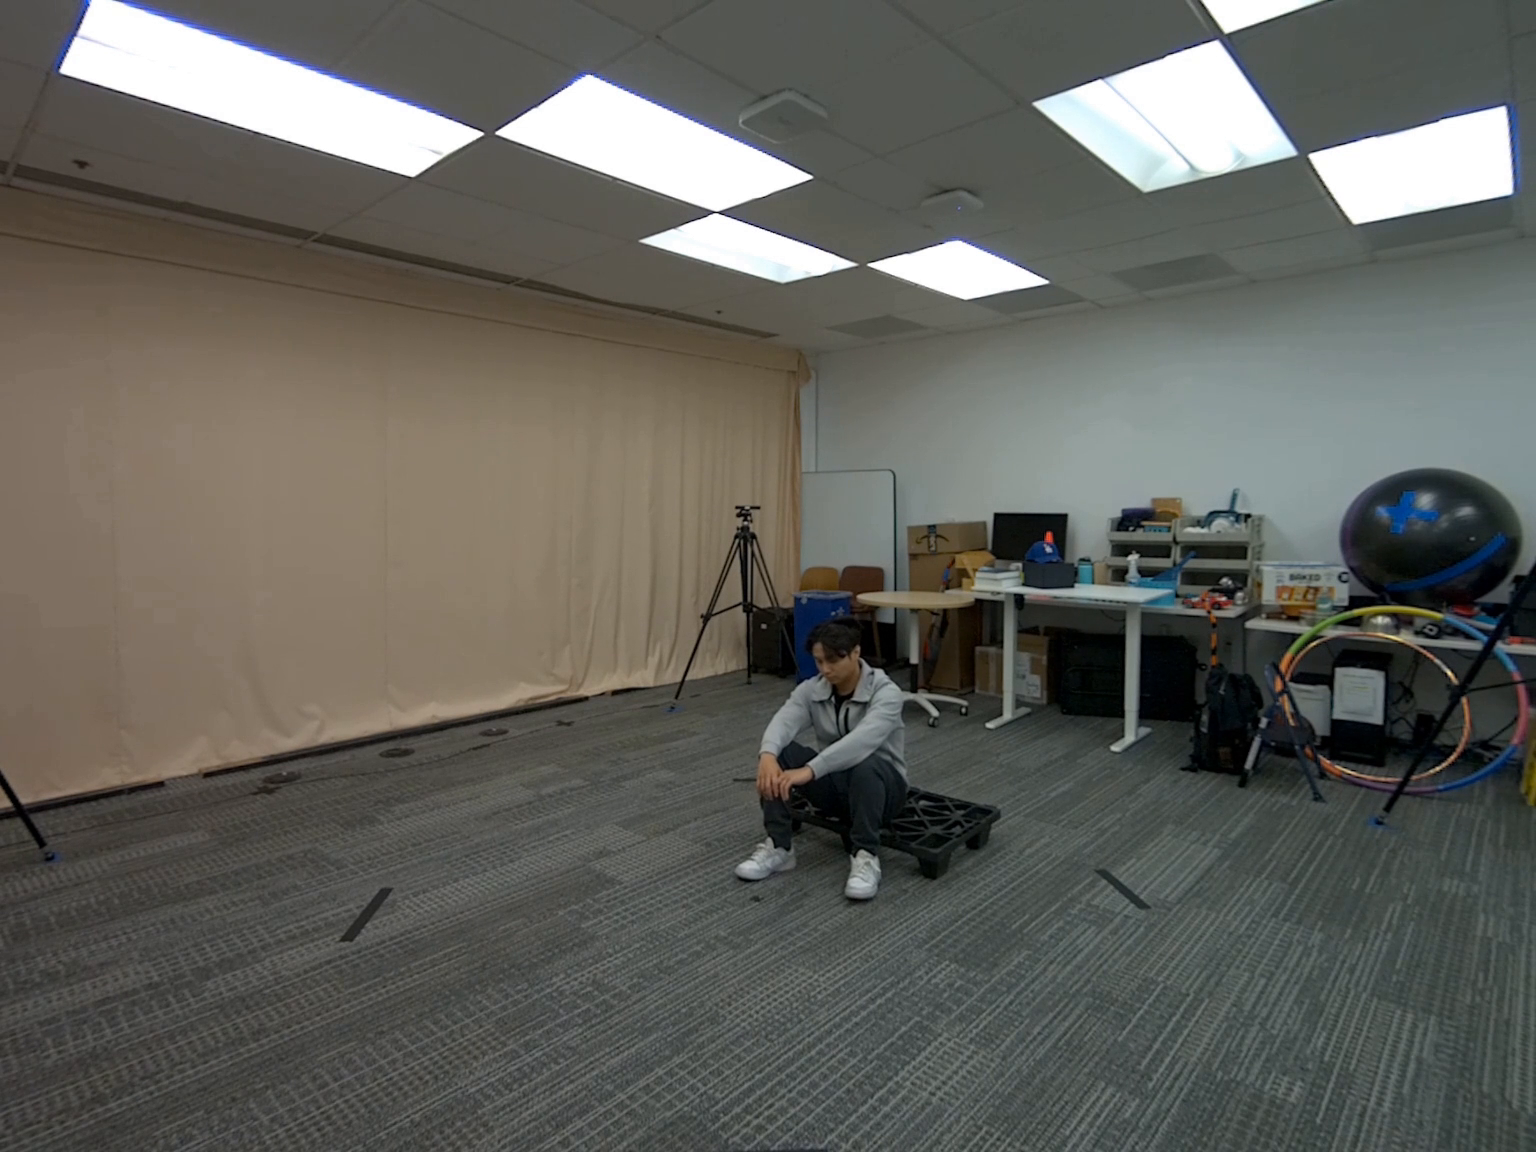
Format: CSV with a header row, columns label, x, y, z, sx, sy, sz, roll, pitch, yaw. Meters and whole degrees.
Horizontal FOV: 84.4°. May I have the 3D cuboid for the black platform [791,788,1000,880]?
label,x,y,z,sx,sy,sz,roll,pitch,yaw
black platform,0.477,1.031,3.532,0.832,0.143,0.587,4,6,39
